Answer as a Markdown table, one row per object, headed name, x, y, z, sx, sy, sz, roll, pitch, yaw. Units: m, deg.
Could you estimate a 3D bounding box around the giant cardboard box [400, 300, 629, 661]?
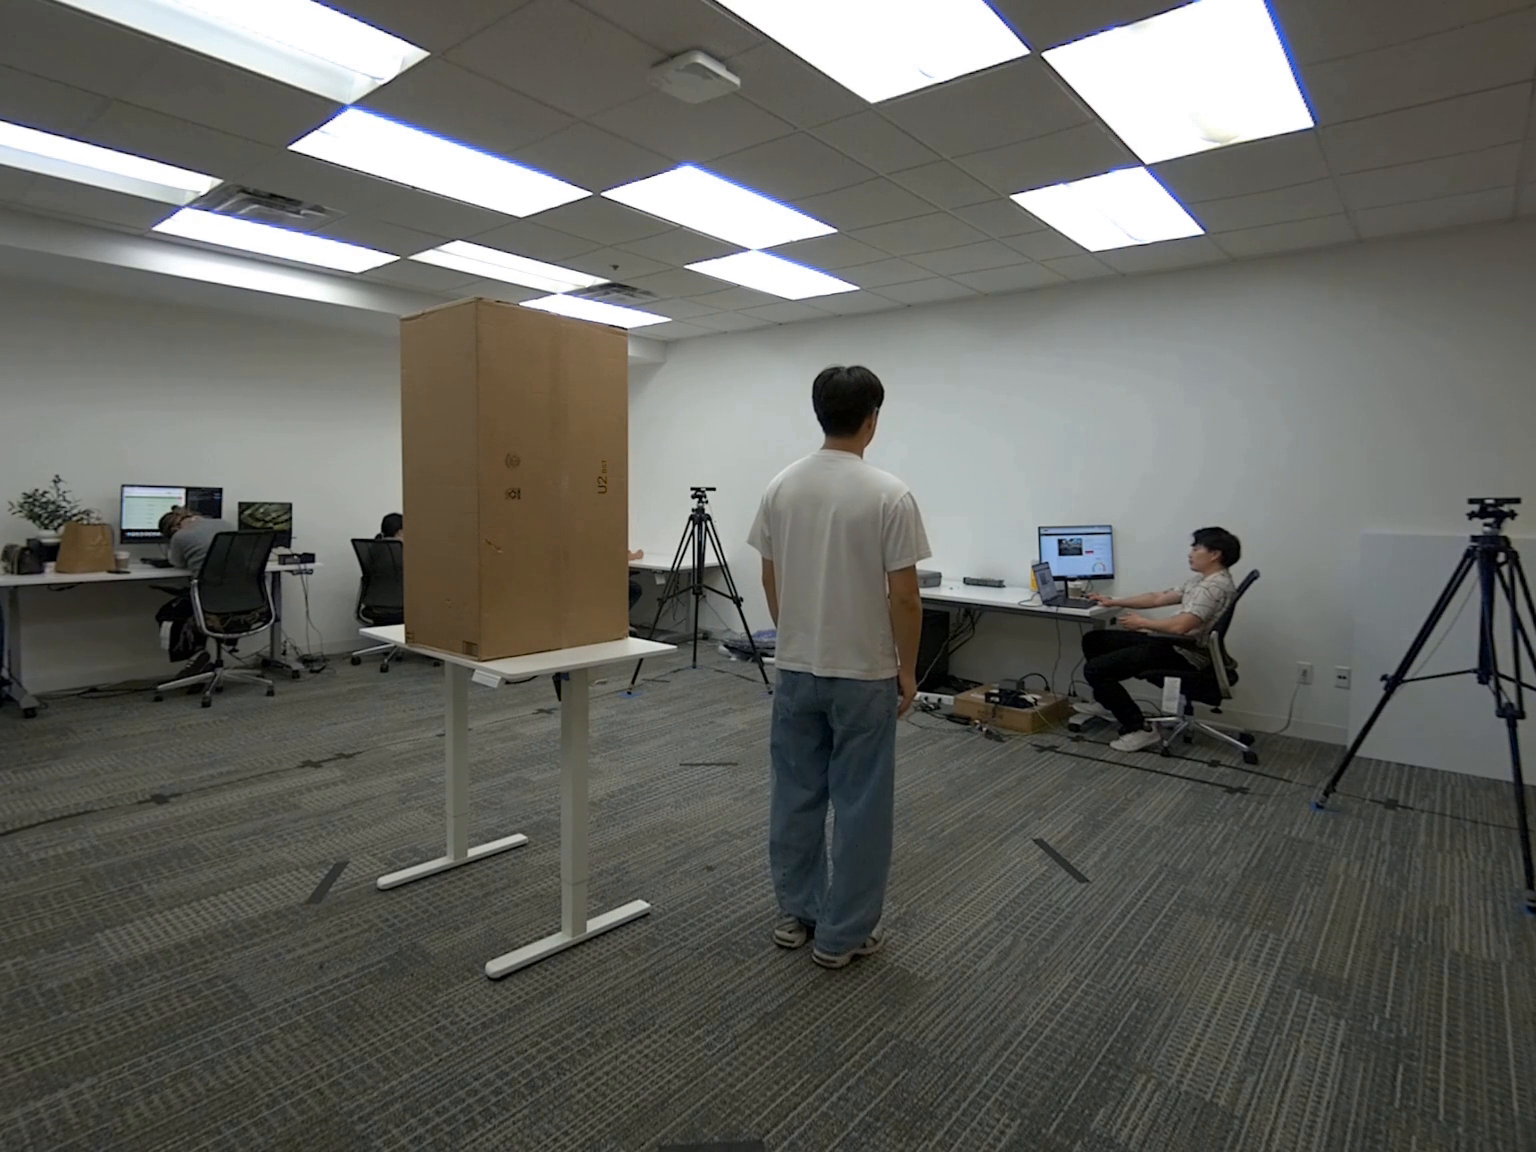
| name | x | y | z | sx | sy | sz | roll | pitch | yaw |
| --- | --- | --- | --- | --- | --- | --- | --- | --- | --- |
| giant cardboard box | -0.817 | -0.295 | 2.722 | 0.440 | 1.023 | 0.560 | 3 | 4 | 40 |
